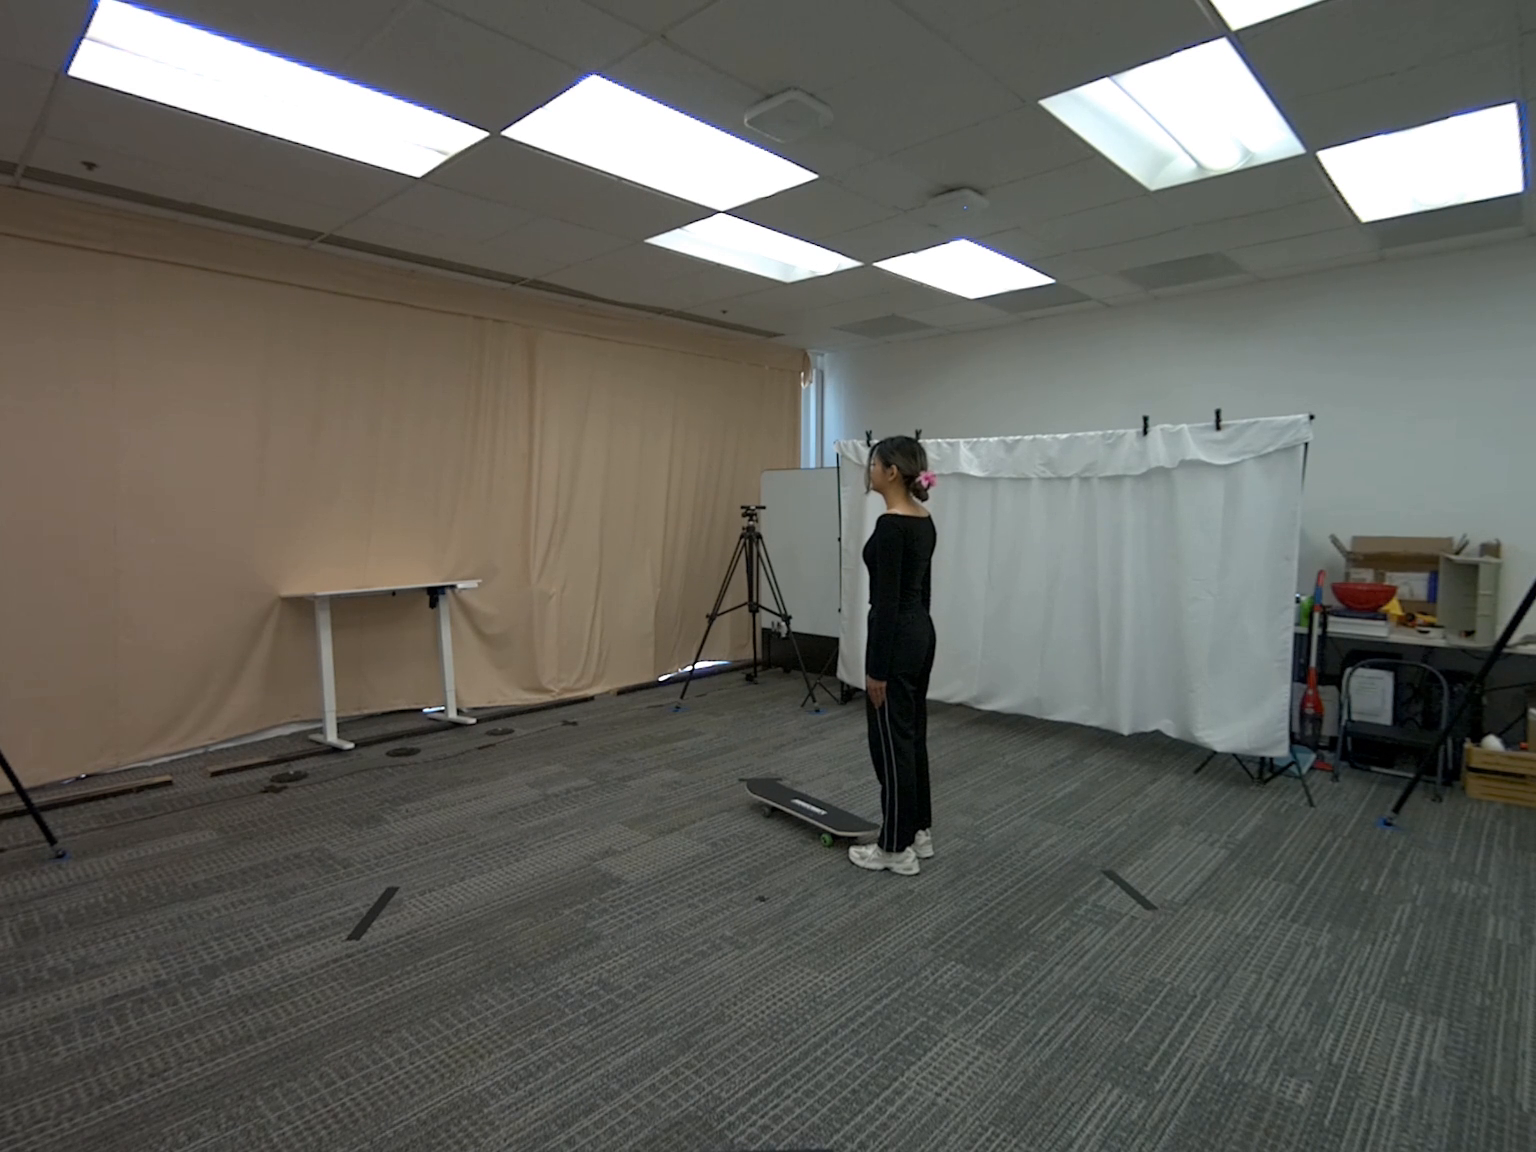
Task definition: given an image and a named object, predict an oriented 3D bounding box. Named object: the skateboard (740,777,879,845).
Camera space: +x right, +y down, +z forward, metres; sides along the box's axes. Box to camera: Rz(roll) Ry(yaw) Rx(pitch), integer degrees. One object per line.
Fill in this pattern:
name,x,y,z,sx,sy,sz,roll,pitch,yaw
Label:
skateboard,0.181,1.029,3.652,0.188,0.110,0.811,-3,5,-37
